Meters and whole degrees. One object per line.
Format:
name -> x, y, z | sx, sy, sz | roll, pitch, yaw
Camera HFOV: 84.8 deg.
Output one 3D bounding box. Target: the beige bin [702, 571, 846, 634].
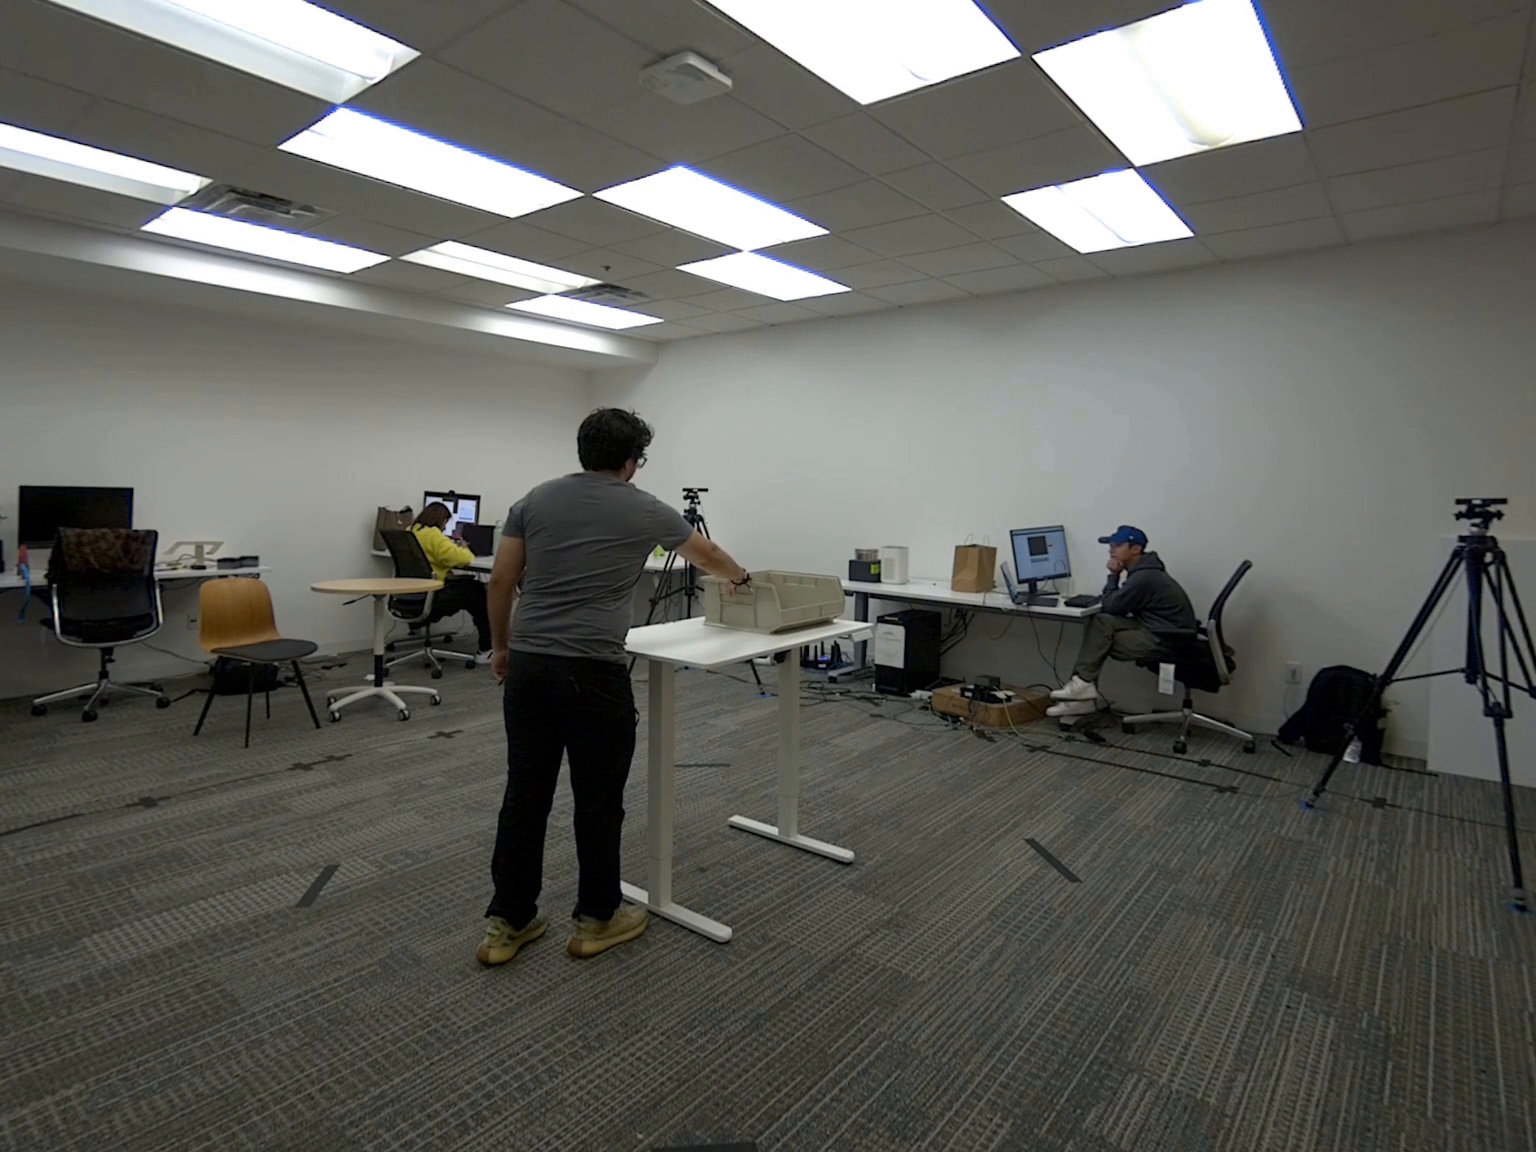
beige bin -> 0.017, 0.091, 3.208 | 0.390, 0.188, 0.410 | 3, 6, 40
